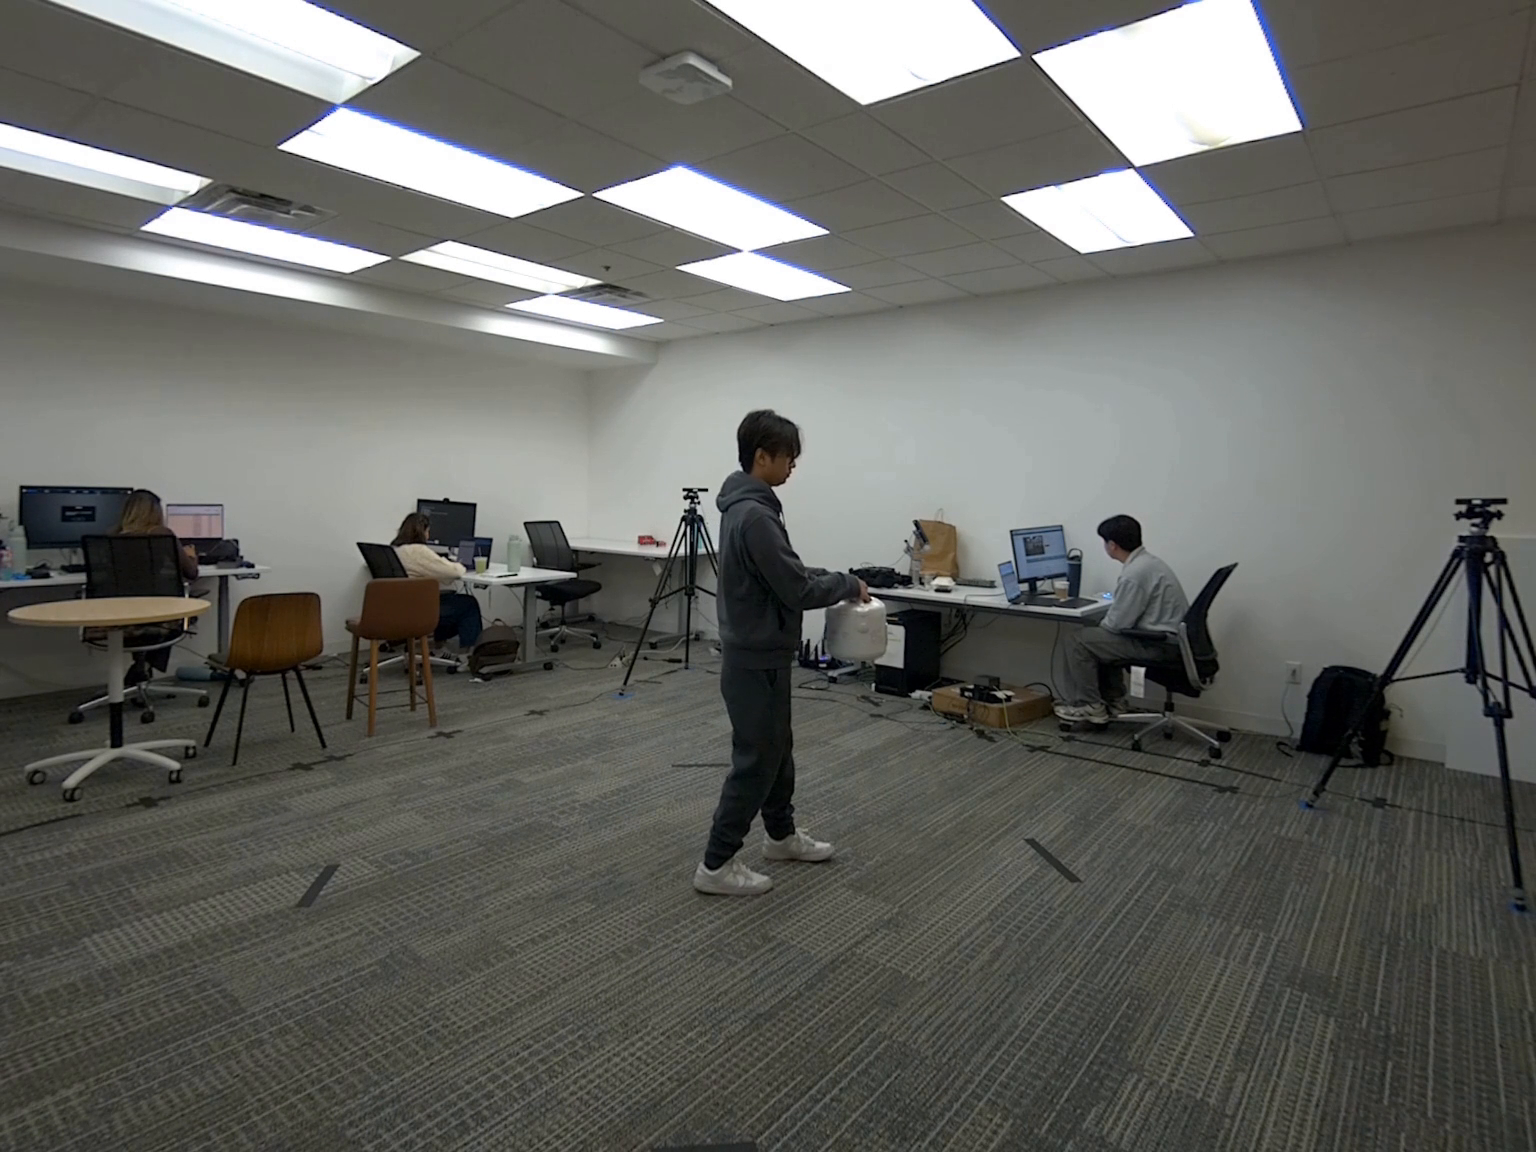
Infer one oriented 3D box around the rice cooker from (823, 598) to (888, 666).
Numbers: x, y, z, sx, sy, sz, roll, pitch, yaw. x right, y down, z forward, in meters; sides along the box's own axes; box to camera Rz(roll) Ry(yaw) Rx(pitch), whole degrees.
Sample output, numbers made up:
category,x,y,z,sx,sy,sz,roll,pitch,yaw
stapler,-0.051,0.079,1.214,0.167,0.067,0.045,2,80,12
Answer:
category,x,y,z,sx,sy,sz,roll,pitch,yaw
rice cooker,0.310,0.173,3.035,0.217,0.231,0.223,-3,6,-4
